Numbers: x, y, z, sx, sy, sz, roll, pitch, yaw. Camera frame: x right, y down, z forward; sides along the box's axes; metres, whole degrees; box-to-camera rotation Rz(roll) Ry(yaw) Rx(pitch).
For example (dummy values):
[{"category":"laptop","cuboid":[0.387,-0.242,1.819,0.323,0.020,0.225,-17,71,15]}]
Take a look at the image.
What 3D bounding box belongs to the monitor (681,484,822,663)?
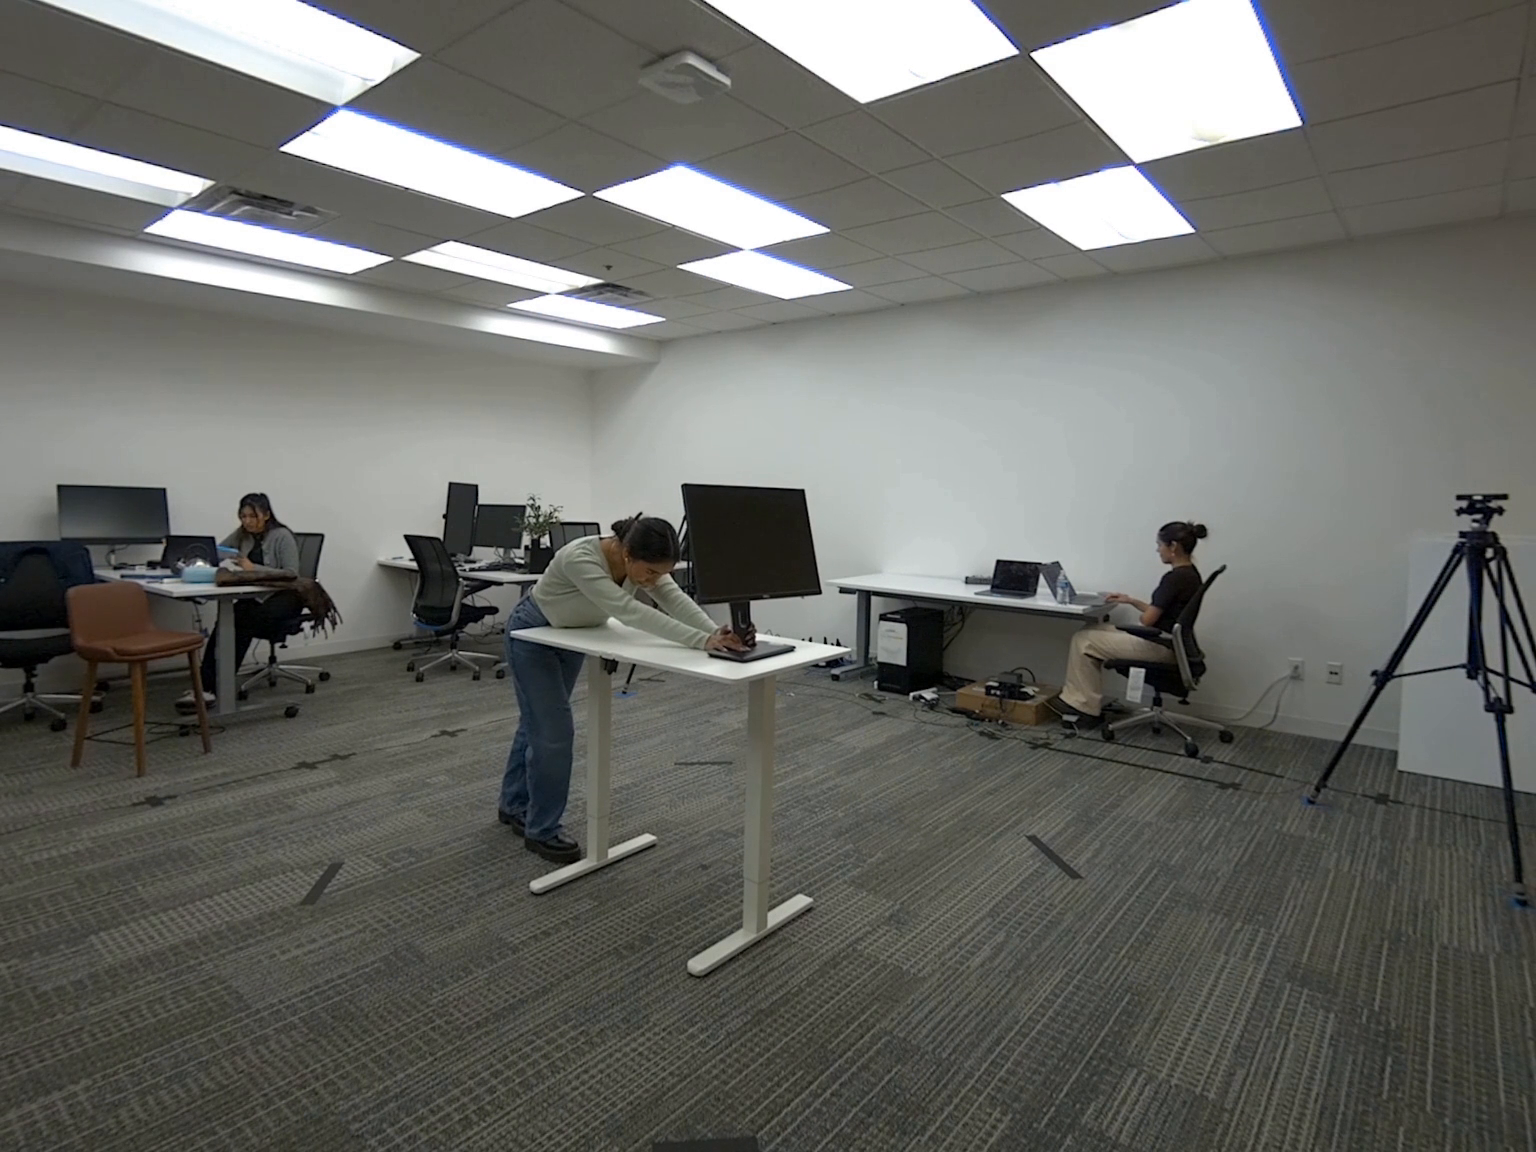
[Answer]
[{"category":"monitor","cuboid":[-0.069,-0.016,2.615,0.193,0.522,0.522,1,2,42]}]
